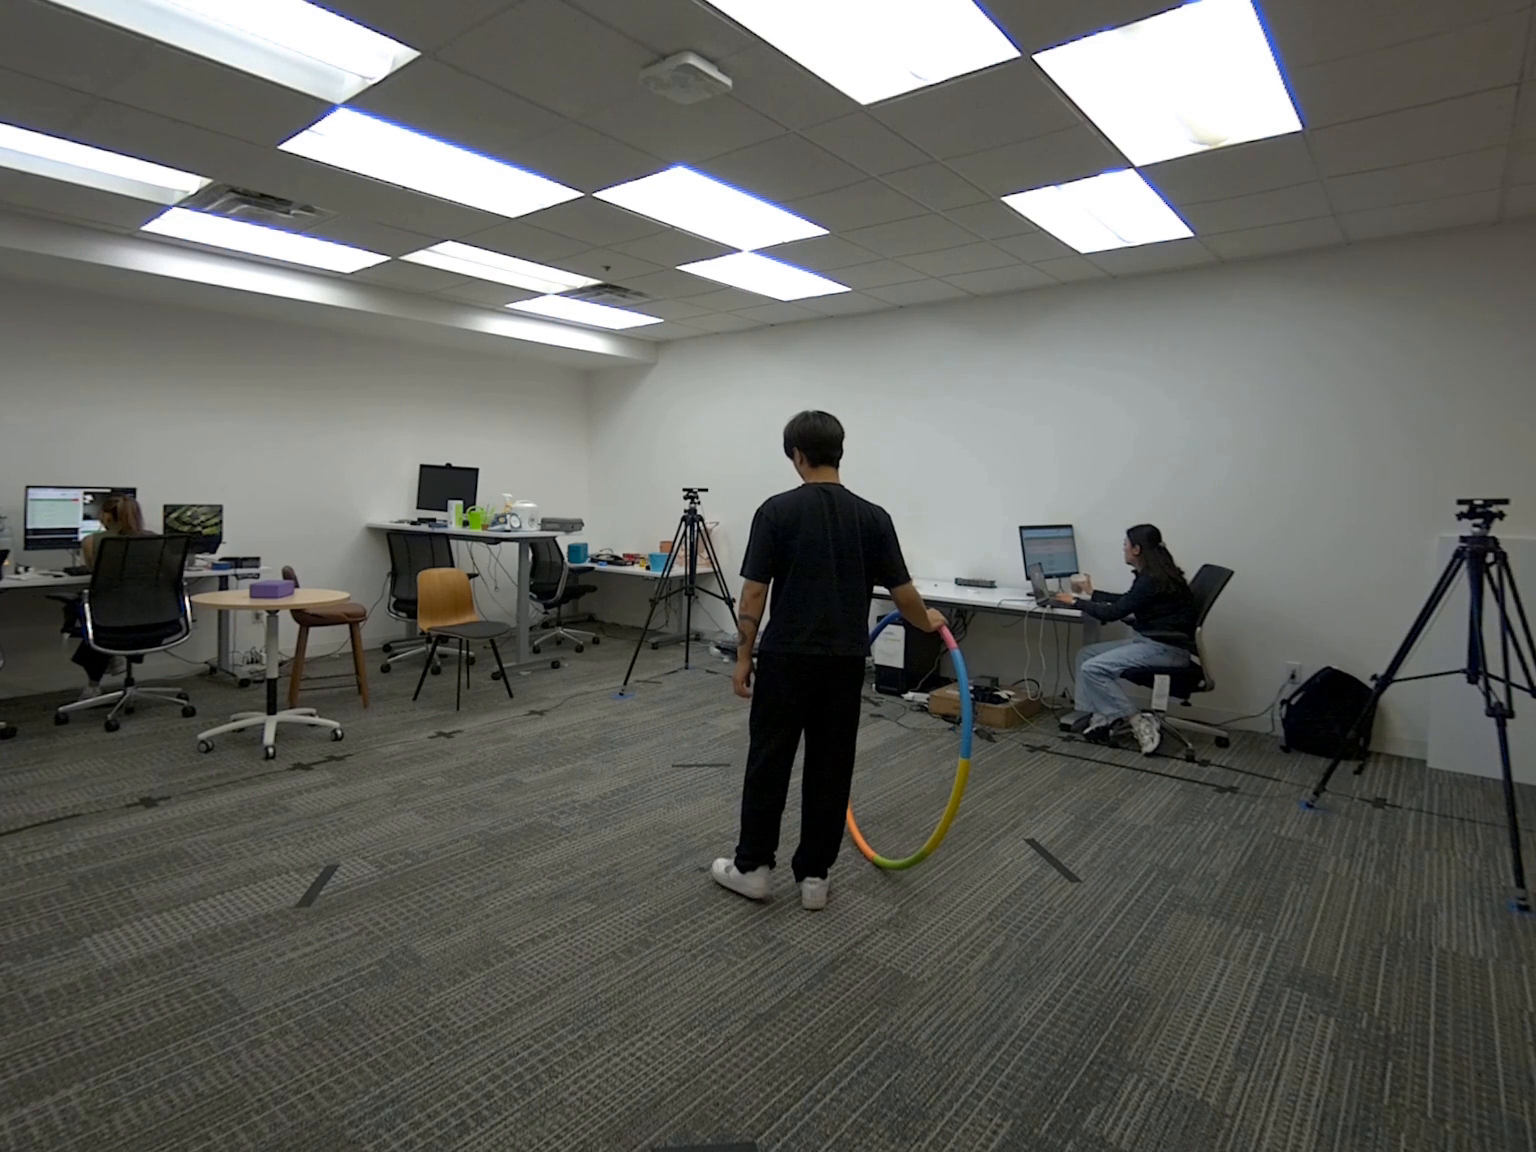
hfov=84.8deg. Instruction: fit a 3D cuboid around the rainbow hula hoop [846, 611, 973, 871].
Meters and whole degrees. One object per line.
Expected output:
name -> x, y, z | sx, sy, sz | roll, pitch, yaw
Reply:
rainbow hula hoop -> 0.462, 0.591, 3.247 | 0.035, 0.978, 0.997 | 8, 2, -17
